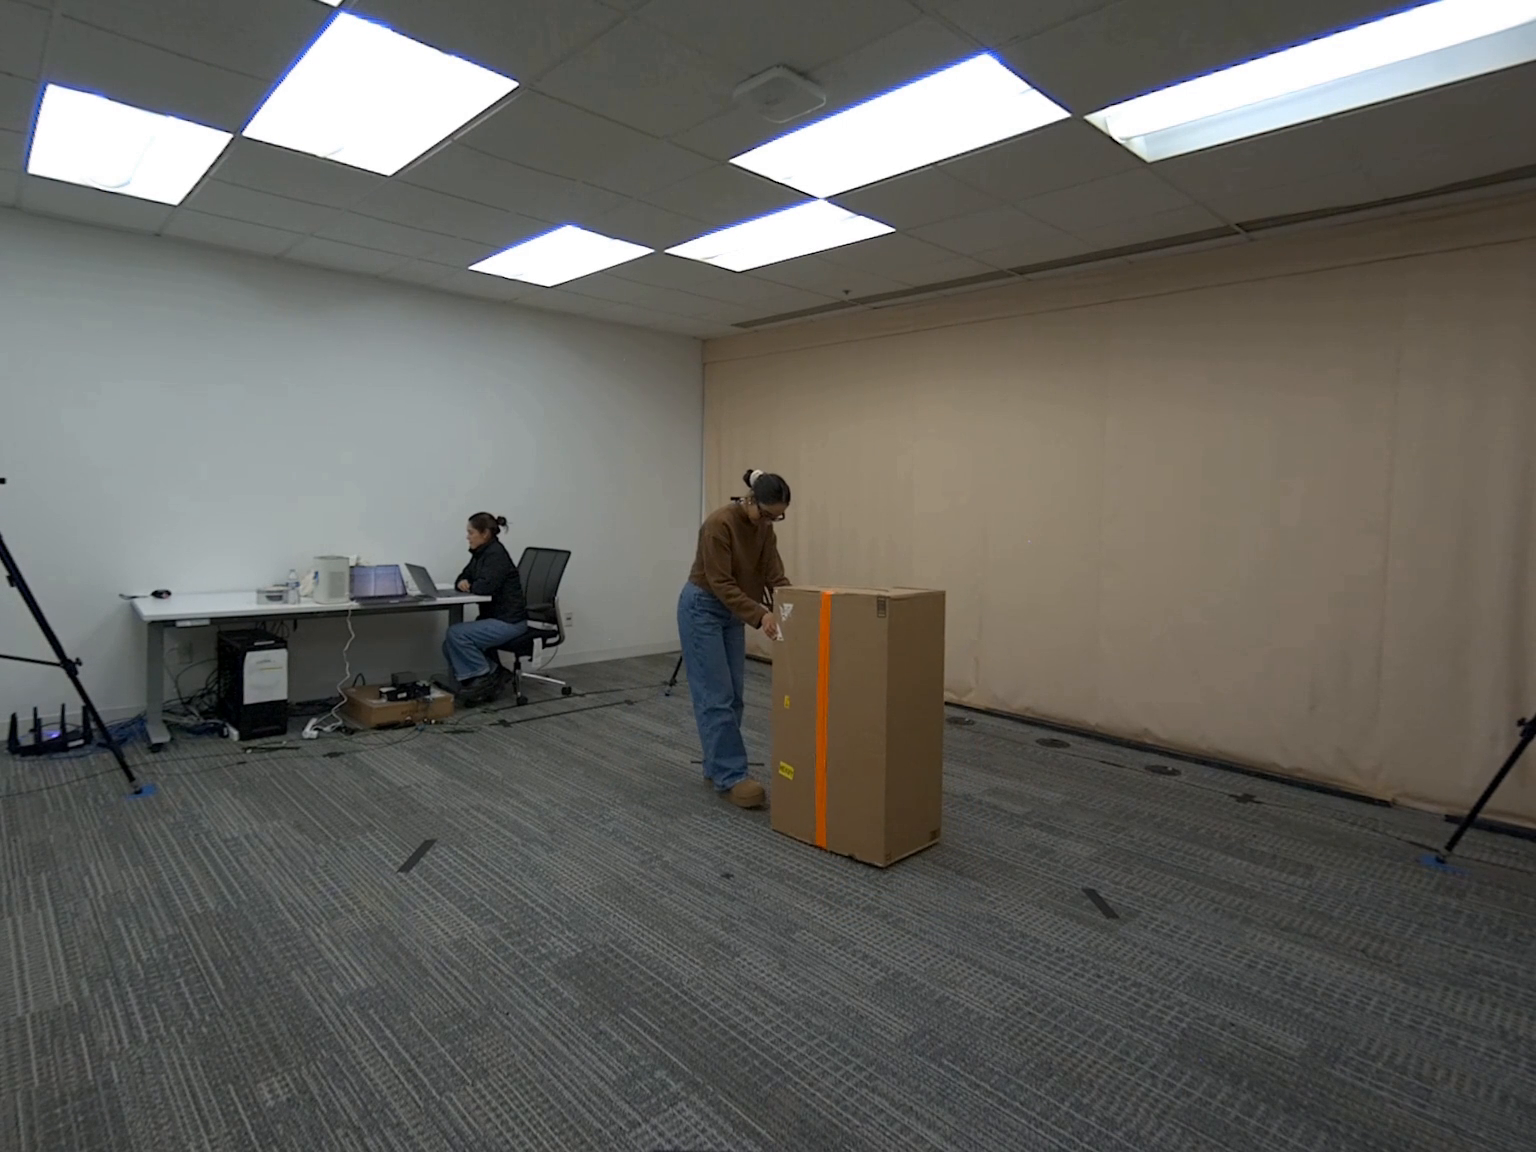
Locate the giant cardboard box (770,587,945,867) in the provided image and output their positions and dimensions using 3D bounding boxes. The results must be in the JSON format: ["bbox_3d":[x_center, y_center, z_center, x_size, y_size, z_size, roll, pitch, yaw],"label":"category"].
[{"bbox_3d":[0.360,0.569,3.488,0.591,1.025,0.416,2,1,44],"label":"giant cardboard box"}]
